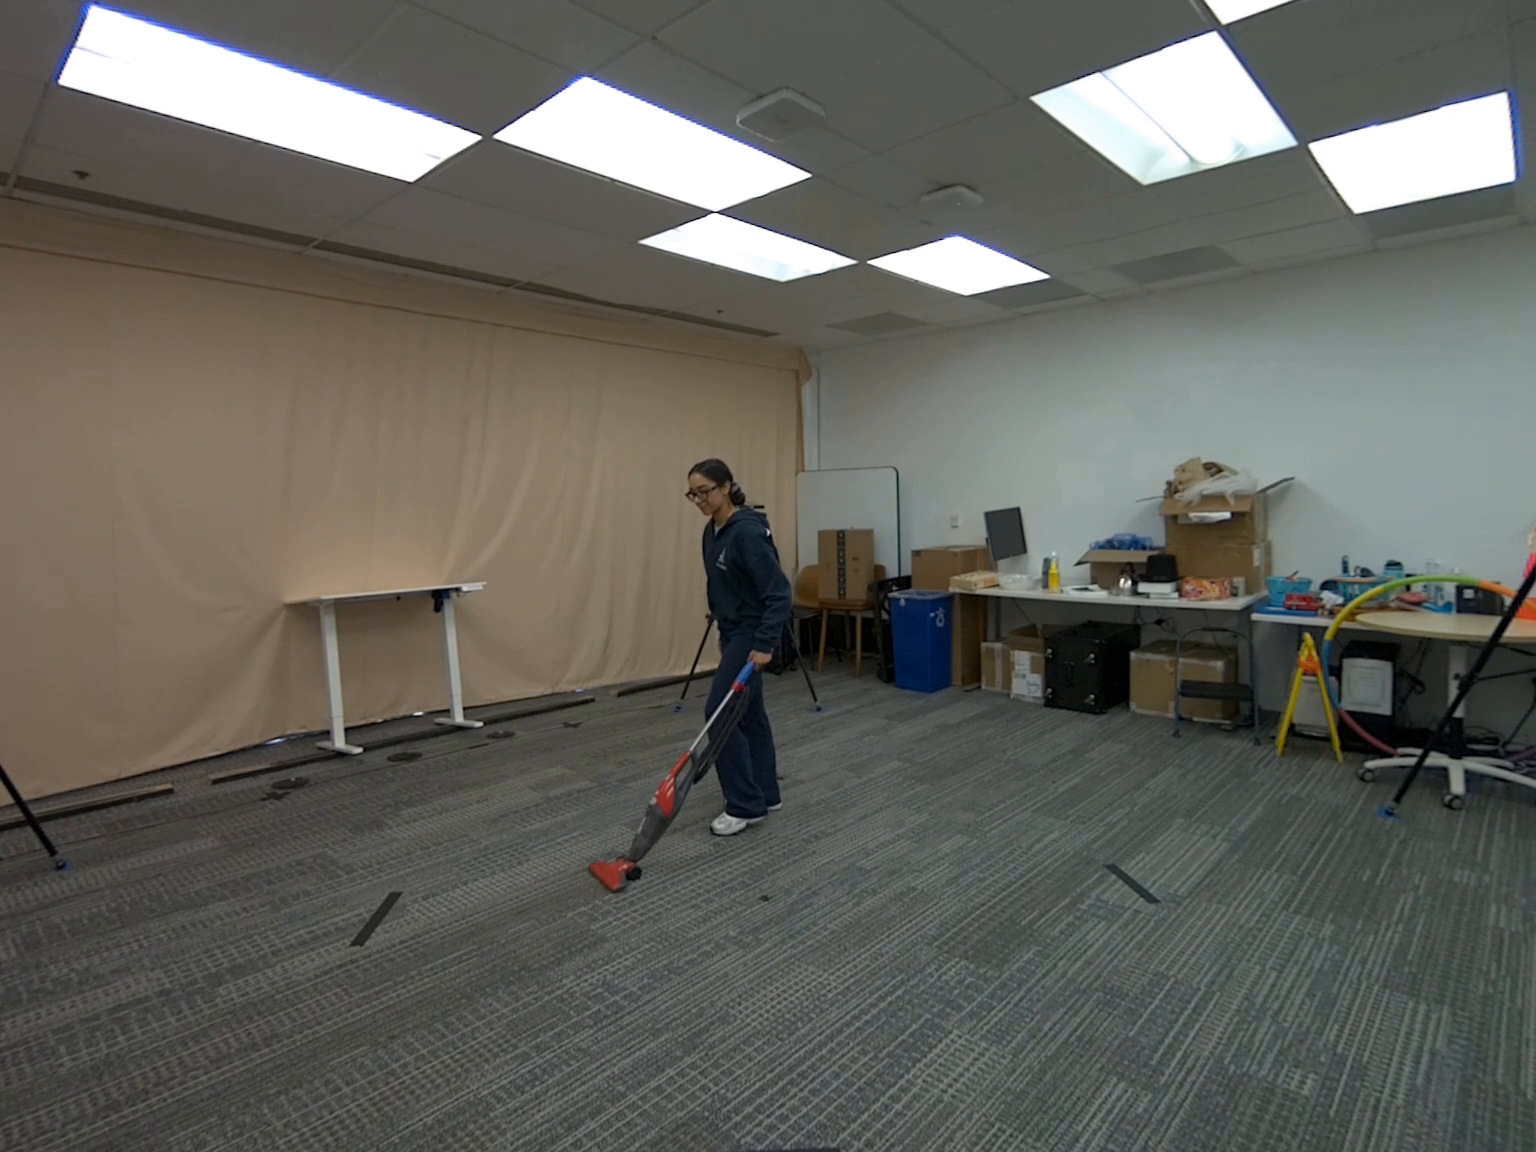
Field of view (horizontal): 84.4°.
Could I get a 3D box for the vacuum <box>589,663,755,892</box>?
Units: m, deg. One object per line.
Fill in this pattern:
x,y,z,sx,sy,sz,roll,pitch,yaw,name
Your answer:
-0.310,0.732,3.317,0.140,1.047,0.261,46,-20,-30,vacuum
